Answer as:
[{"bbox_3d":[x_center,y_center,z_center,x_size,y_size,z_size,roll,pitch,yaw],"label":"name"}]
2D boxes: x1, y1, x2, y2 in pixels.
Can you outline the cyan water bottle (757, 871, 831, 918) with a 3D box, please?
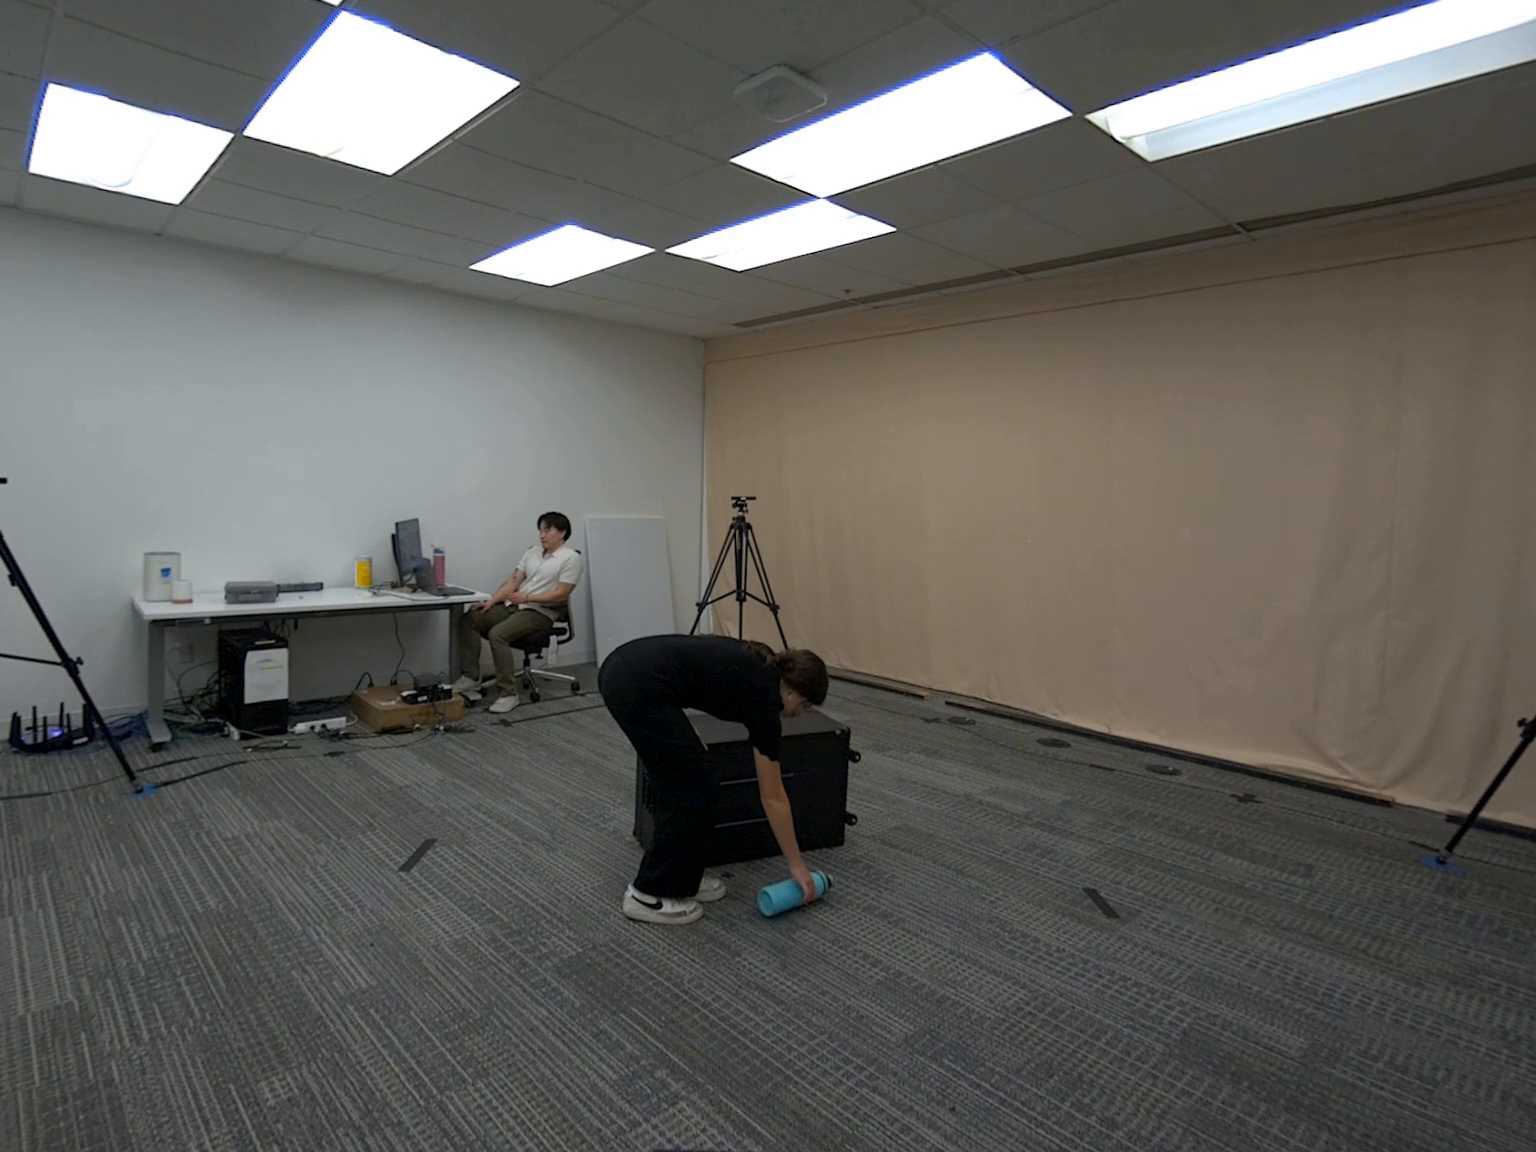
[{"bbox_3d":[0.080,1.073,2.863,0.277,0.092,0.094,-4,7,-38],"label":"cyan water bottle"}]
